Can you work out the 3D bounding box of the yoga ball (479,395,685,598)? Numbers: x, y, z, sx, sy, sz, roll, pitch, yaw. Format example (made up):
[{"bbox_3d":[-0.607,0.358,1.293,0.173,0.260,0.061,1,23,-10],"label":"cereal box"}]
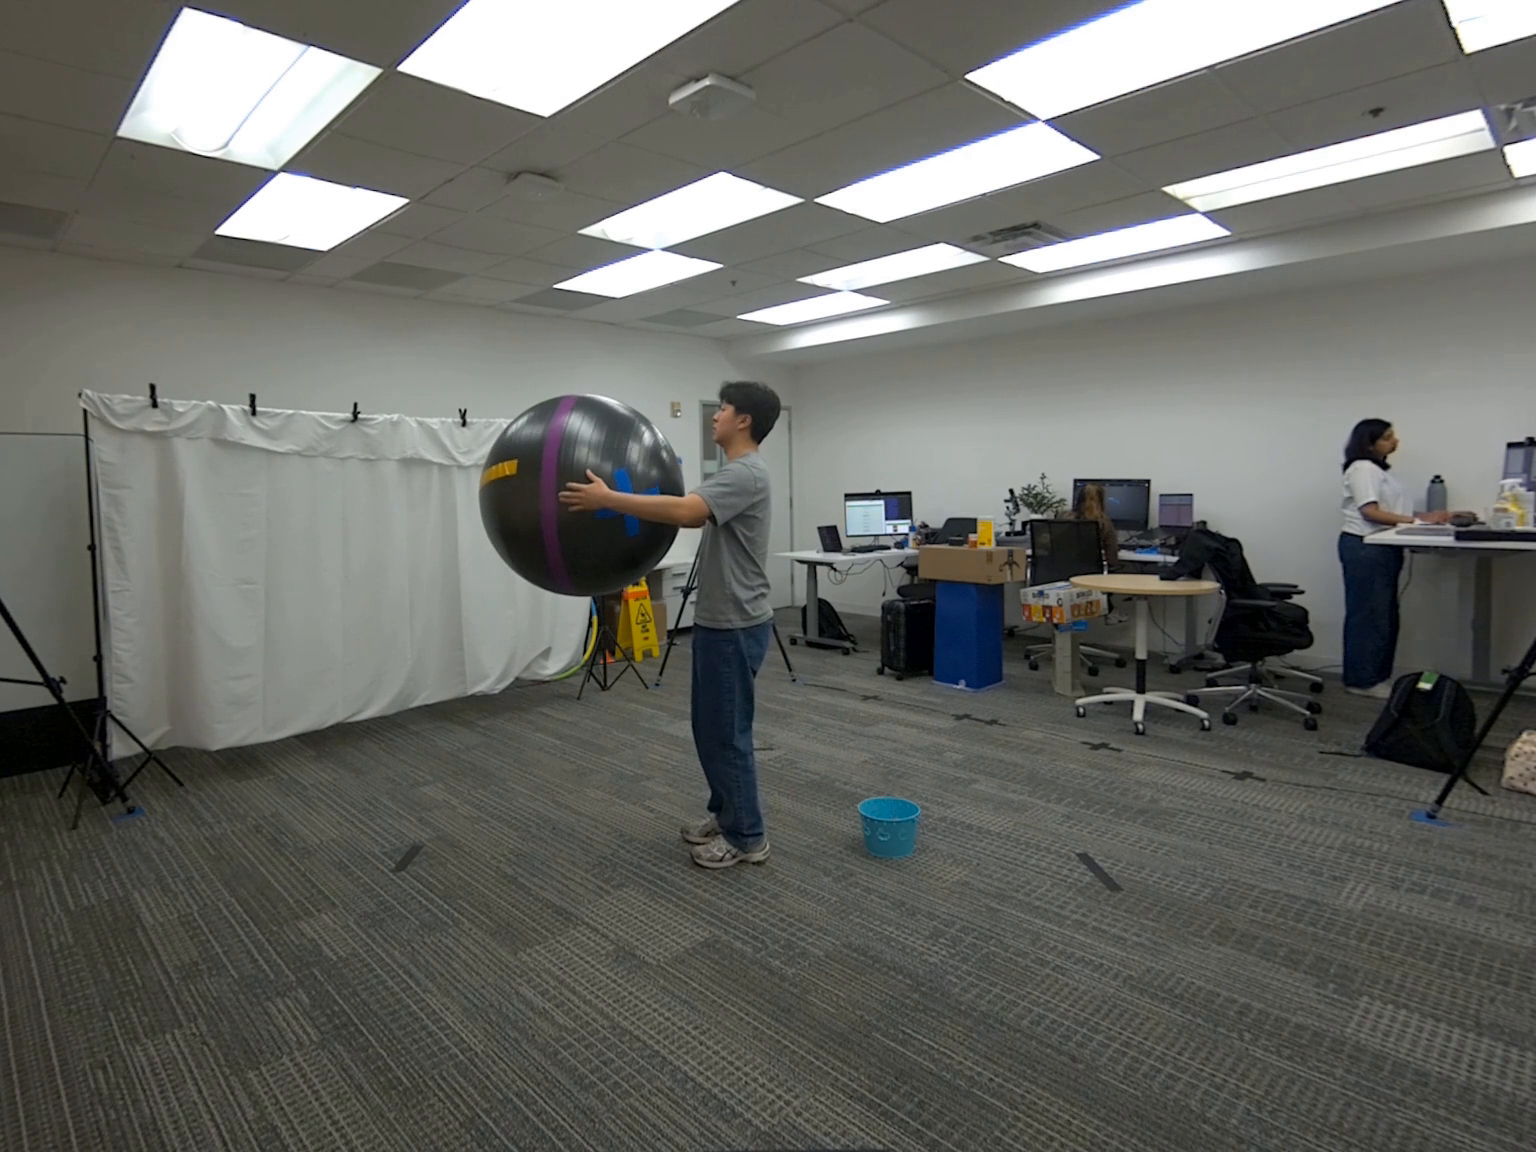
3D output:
[{"bbox_3d":[-0.706,-0.295,3.216,0.757,0.755,0.762,-1,5,-2],"label":"yoga ball"}]
